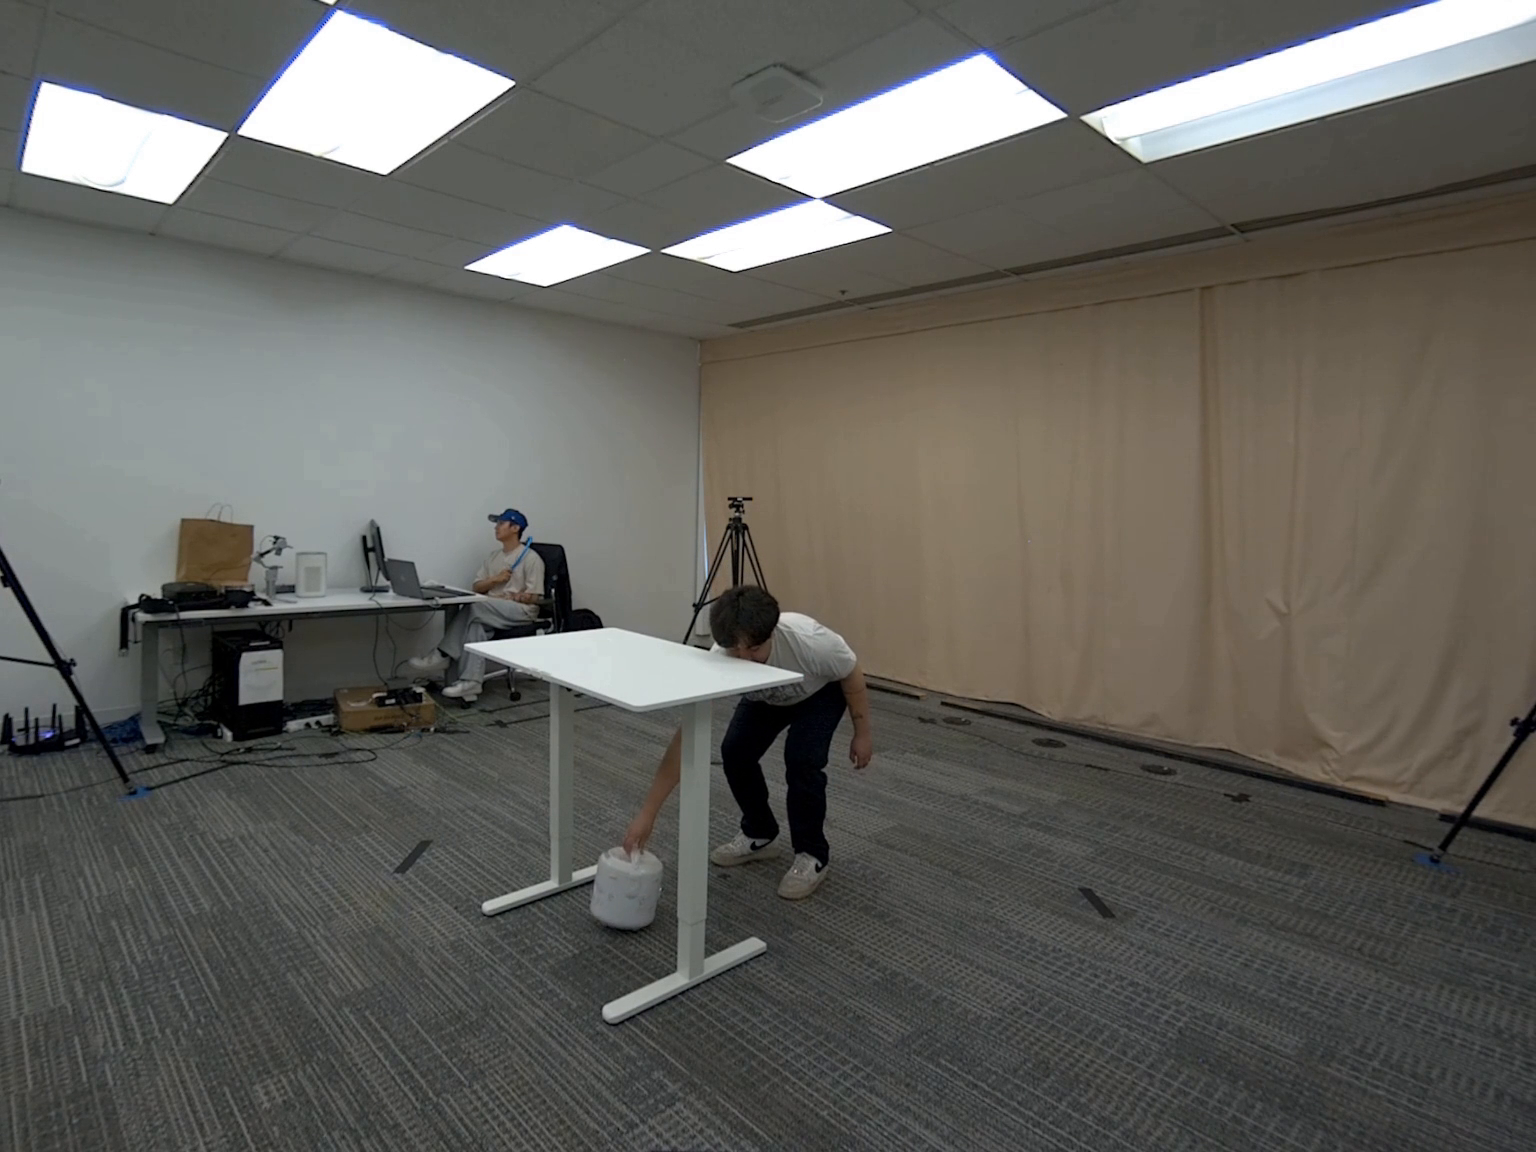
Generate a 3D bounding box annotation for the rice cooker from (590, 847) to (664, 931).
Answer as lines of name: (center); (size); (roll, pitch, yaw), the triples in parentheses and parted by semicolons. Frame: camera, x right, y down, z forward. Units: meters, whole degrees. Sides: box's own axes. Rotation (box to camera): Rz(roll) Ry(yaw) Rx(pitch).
rice cooker: (-0.457, 0.997, 2.731); (0.215, 0.233, 0.223); (10, -2, -13)
